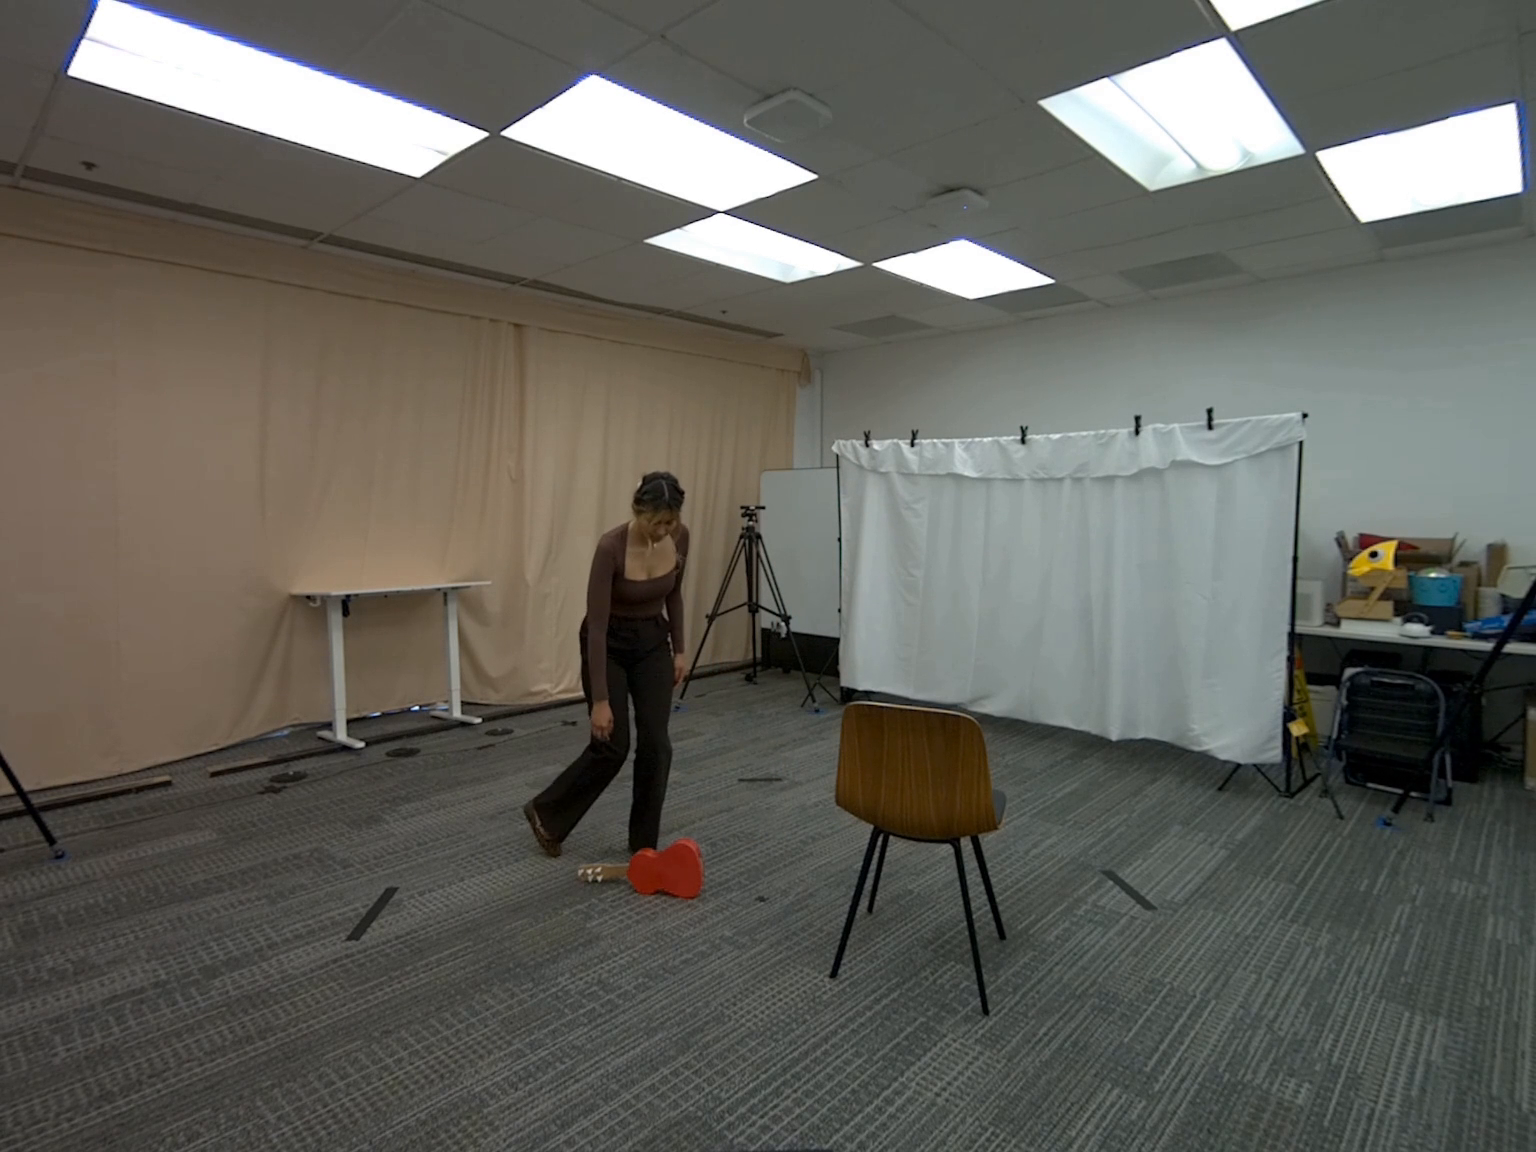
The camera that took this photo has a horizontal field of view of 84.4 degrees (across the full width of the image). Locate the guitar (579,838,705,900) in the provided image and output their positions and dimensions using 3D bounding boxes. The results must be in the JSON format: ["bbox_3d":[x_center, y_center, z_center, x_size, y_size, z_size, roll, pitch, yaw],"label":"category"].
[{"bbox_3d":[-0.464,1.101,3.062,0.504,0.193,0.069,-18,-3,14],"label":"guitar"}]
